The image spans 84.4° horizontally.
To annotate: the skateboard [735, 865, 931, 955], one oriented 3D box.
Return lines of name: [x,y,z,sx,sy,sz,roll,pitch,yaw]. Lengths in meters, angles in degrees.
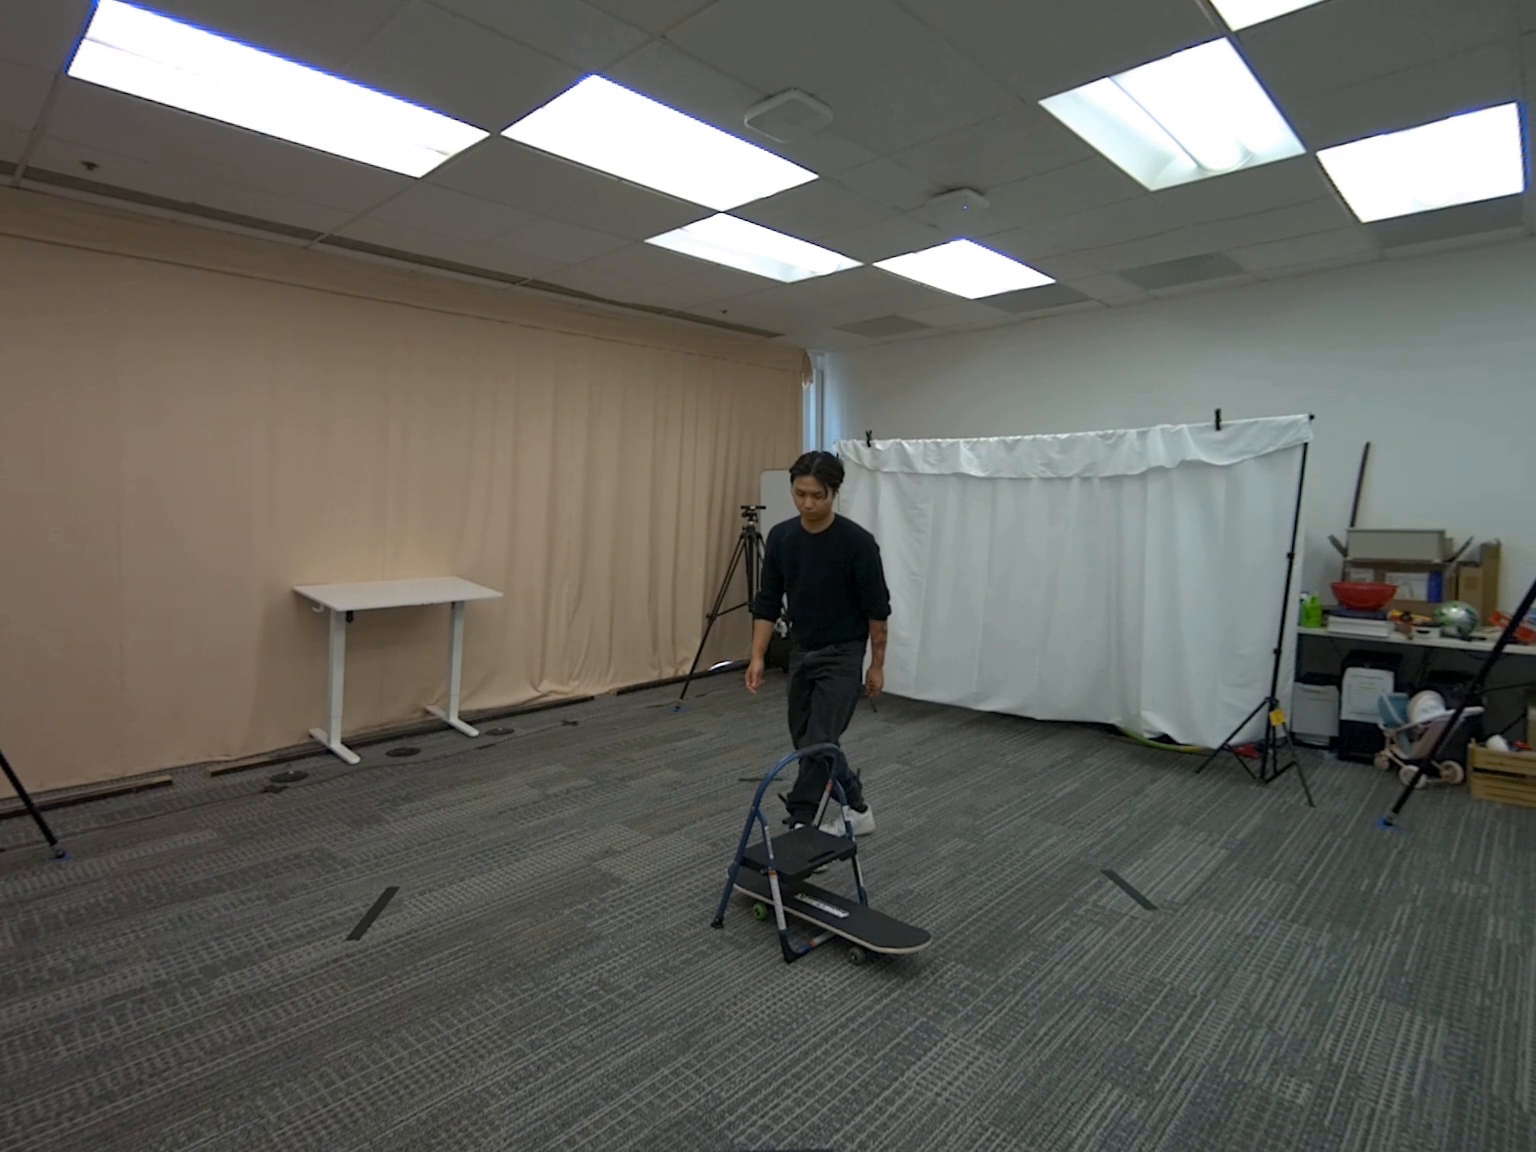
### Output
skateboard: [0.177,1.099,2.755,0.812,0.110,0.187,4,6,43]
